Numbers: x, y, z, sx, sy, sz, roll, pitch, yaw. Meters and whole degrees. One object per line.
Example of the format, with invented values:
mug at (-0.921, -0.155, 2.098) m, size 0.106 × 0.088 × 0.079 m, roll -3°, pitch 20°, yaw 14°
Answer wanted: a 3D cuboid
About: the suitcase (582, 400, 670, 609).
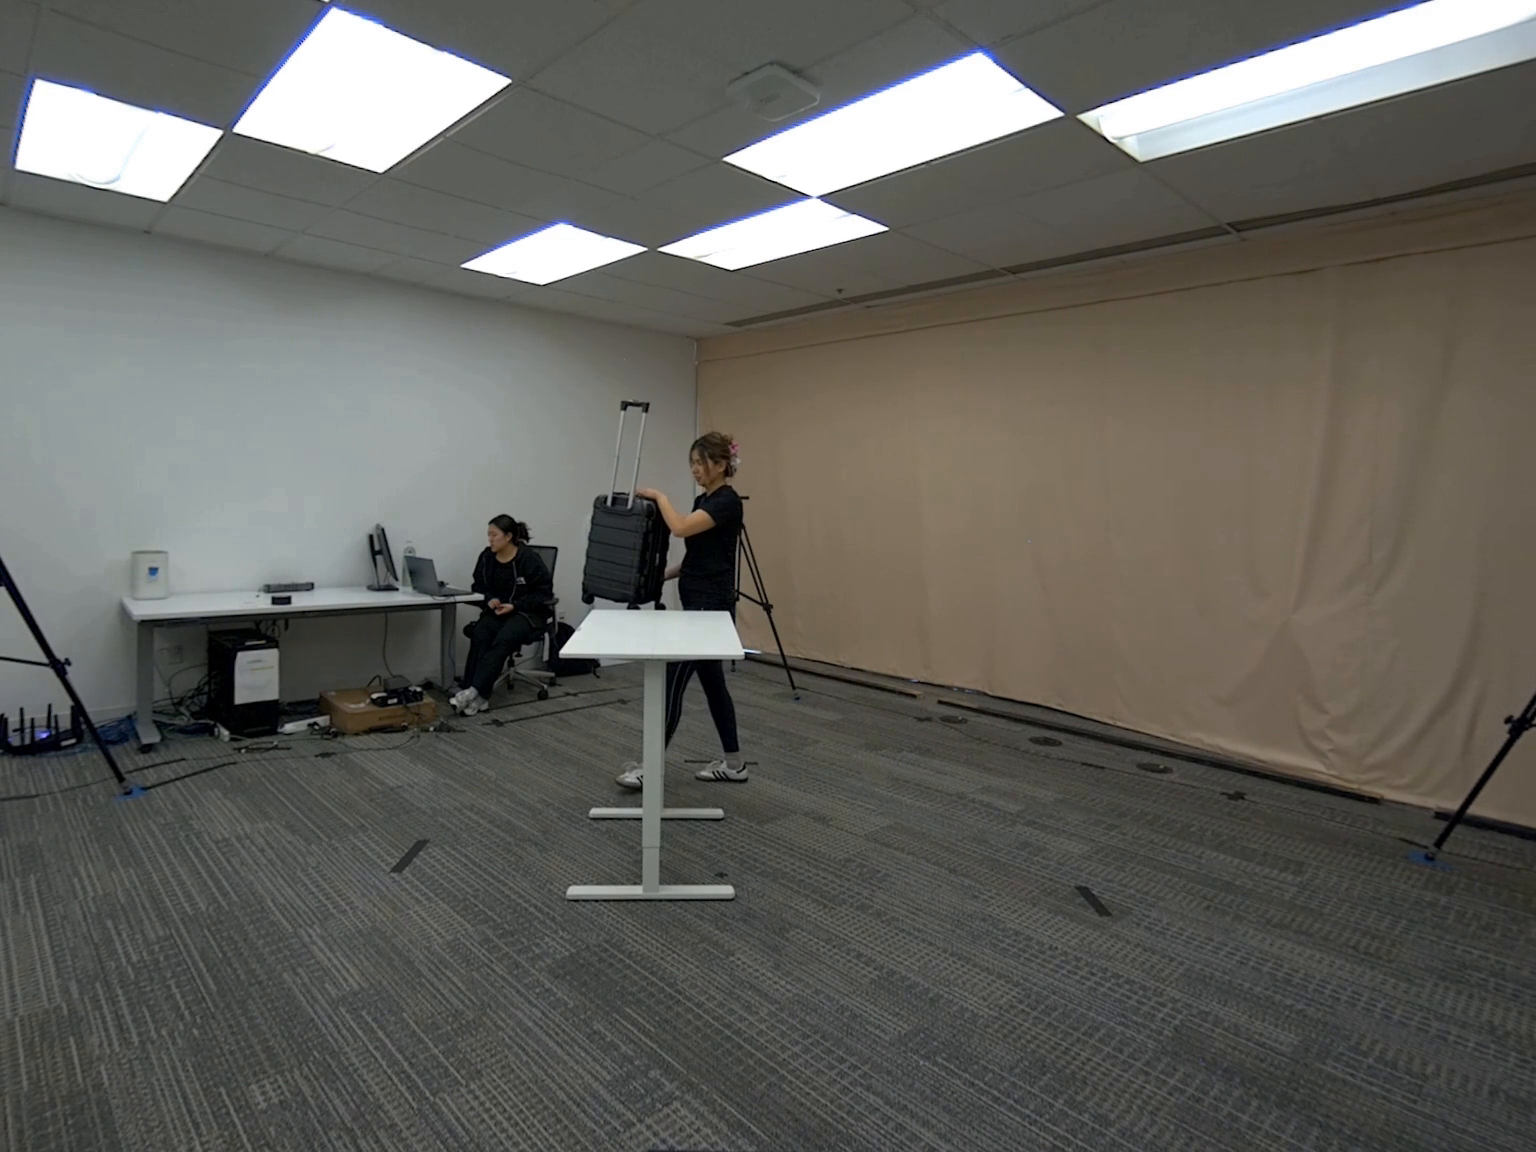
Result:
suitcase at (-0.646, -0.328, 4.016) m, size 0.393 × 0.978 × 0.251 m, roll 9°, pitch 1°, yaw 31°
